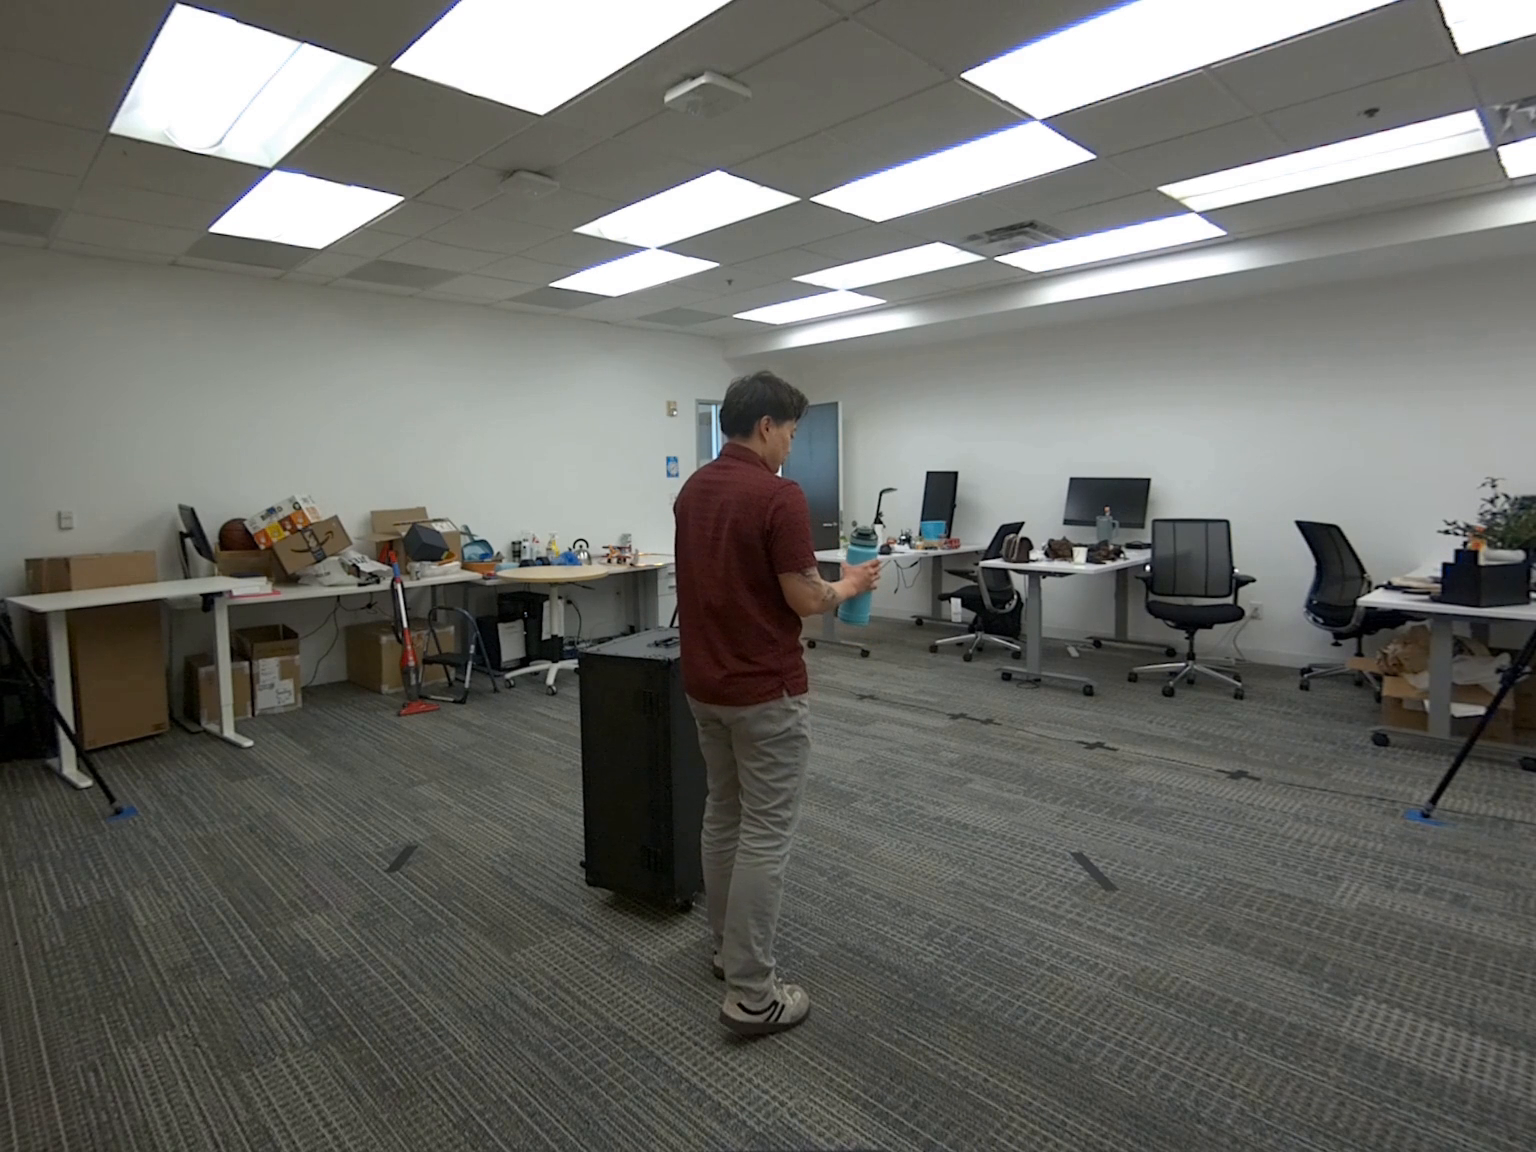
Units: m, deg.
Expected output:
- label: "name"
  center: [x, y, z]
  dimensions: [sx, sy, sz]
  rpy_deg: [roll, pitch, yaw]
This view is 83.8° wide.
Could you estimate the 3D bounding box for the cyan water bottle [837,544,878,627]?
- label: "cyan water bottle"
  center: [0.265, -0.006, 2.468]
  dimensions: [0.092, 0.282, 0.093]
  rpy_deg: [7, 4, -2]
